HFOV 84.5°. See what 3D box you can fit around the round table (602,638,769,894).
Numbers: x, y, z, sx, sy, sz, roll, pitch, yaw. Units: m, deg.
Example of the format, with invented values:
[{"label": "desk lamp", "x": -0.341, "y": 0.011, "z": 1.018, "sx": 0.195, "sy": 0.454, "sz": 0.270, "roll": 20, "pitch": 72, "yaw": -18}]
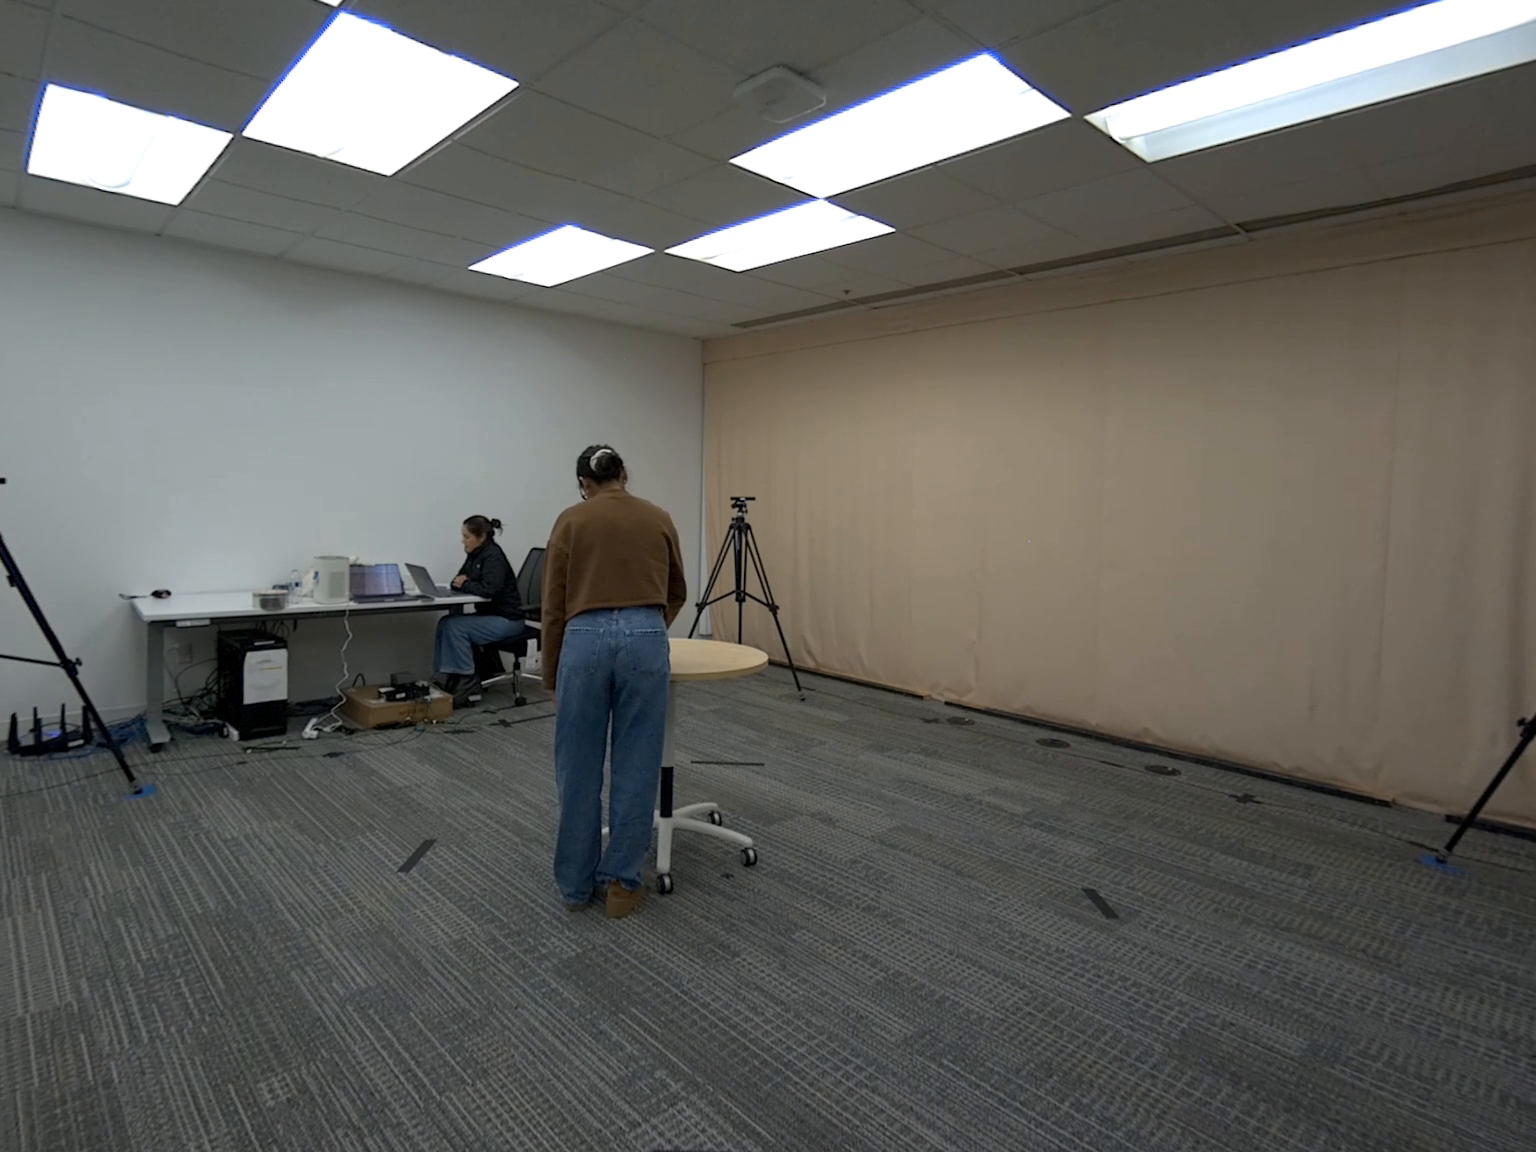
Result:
[{"label": "round table", "x": -0.398, "y": 0.698, "z": 3.295, "sx": 0.763, "sy": 0.792, "sz": 0.766, "roll": 1, "pitch": 4, "yaw": -1}]
